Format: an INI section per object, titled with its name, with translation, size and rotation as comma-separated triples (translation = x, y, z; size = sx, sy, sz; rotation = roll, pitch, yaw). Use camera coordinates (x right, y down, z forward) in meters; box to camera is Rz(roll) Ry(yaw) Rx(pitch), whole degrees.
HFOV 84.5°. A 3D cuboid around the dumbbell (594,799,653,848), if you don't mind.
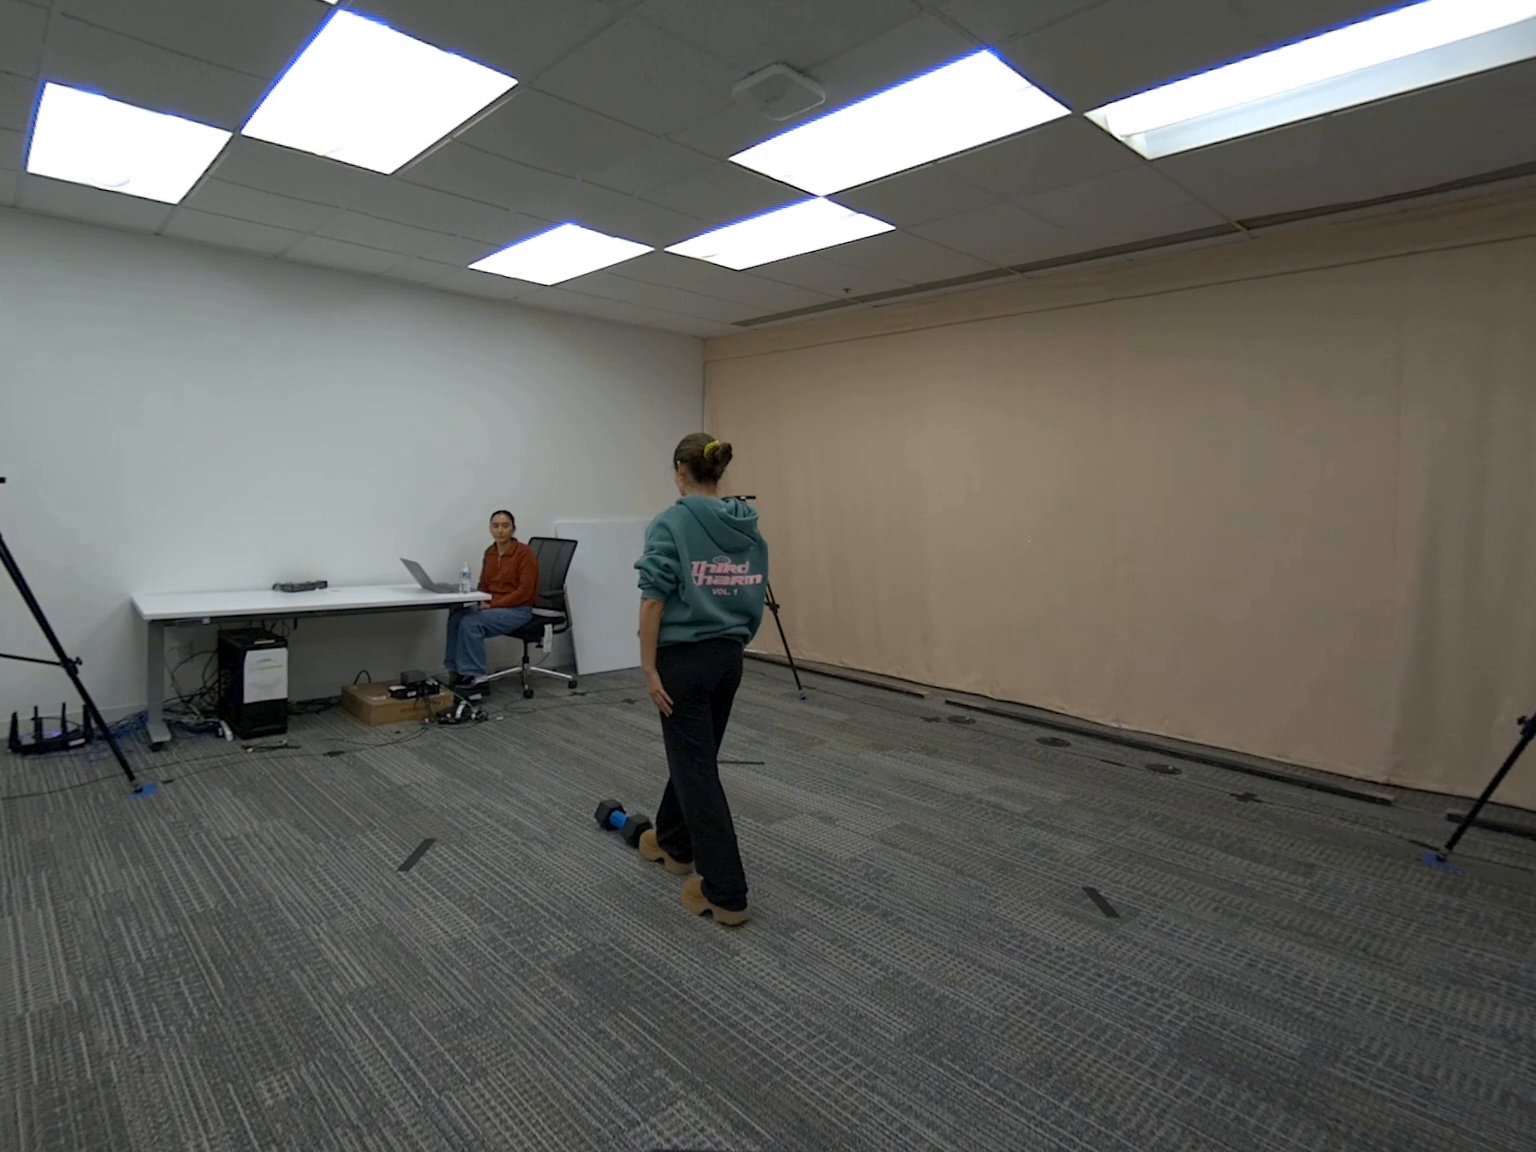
[dumbbell]
translation = -0.601, 1.009, 3.440
size = 0.108, 0.120, 0.301
rotation = -37, 27, -31
